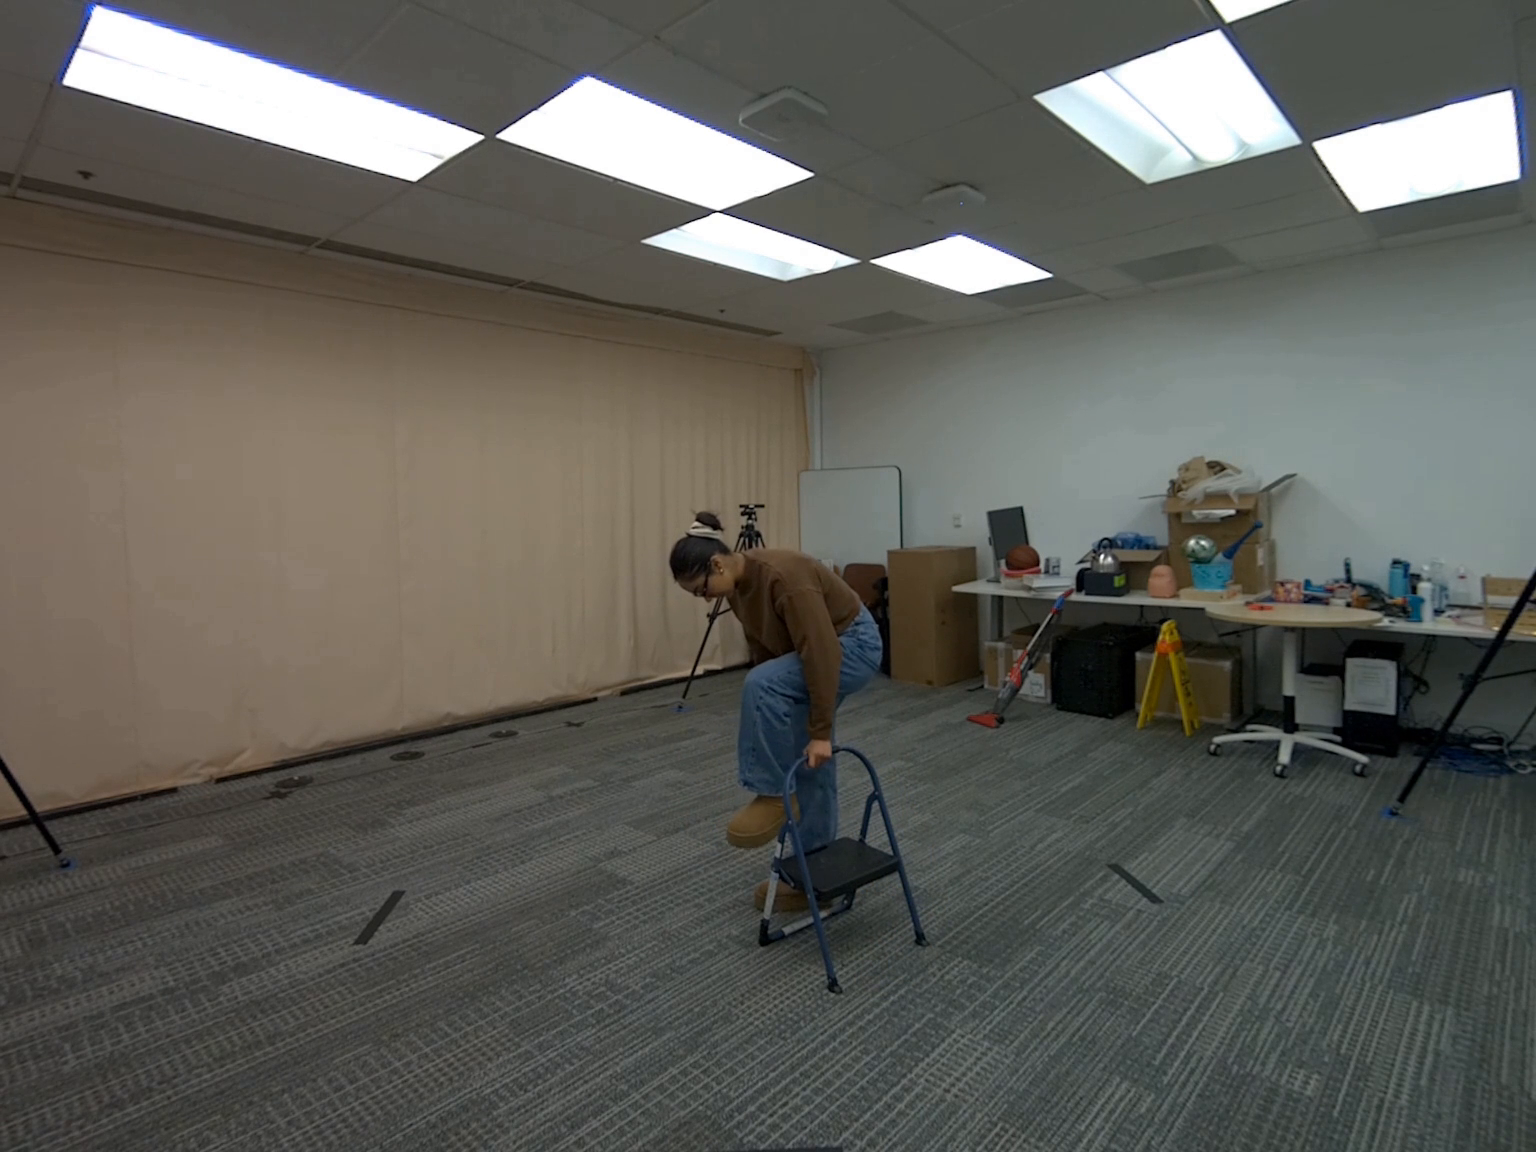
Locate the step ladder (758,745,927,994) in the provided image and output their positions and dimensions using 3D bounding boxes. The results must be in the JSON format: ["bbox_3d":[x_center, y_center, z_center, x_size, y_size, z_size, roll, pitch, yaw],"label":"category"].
[{"bbox_3d":[0.237,0.859,2.639,0.418,0.605,0.360,-4,4,-40],"label":"step ladder"}]
